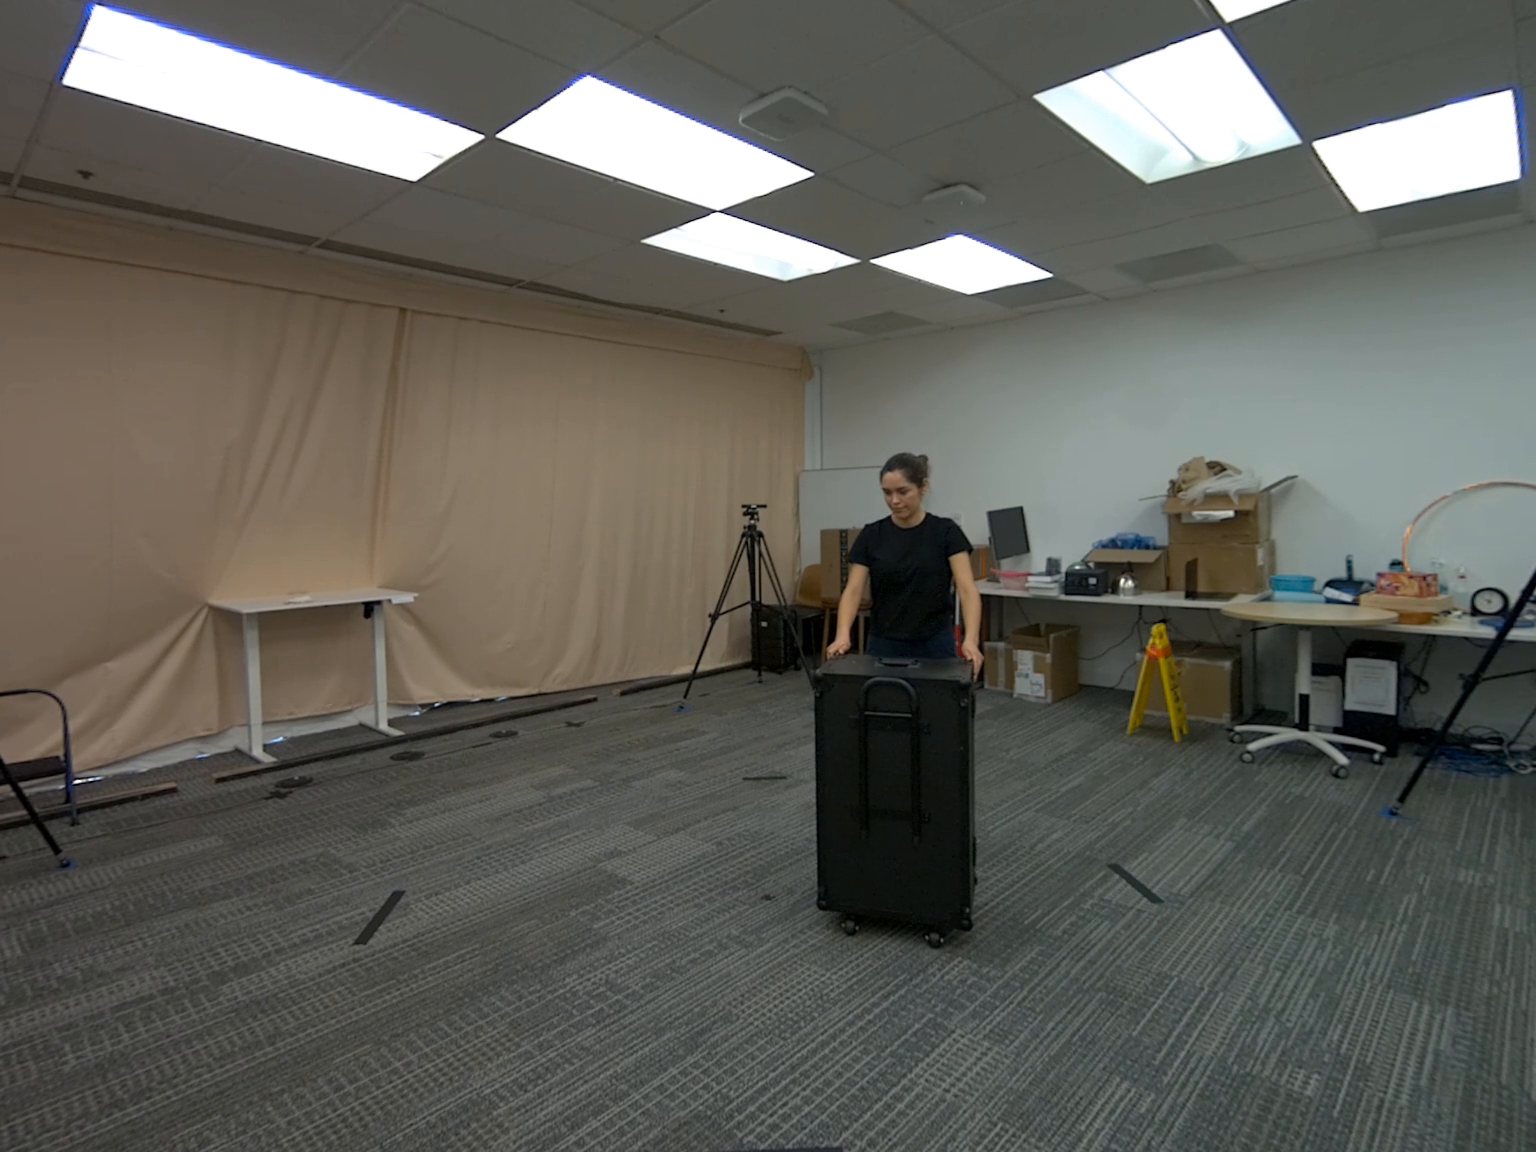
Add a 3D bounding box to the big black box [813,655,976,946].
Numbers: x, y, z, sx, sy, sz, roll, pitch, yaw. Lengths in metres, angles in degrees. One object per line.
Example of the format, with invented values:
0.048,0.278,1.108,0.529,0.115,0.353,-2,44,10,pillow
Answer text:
0.443,0.721,2.799,0.532,0.860,0.389,0,3,19,big black box
